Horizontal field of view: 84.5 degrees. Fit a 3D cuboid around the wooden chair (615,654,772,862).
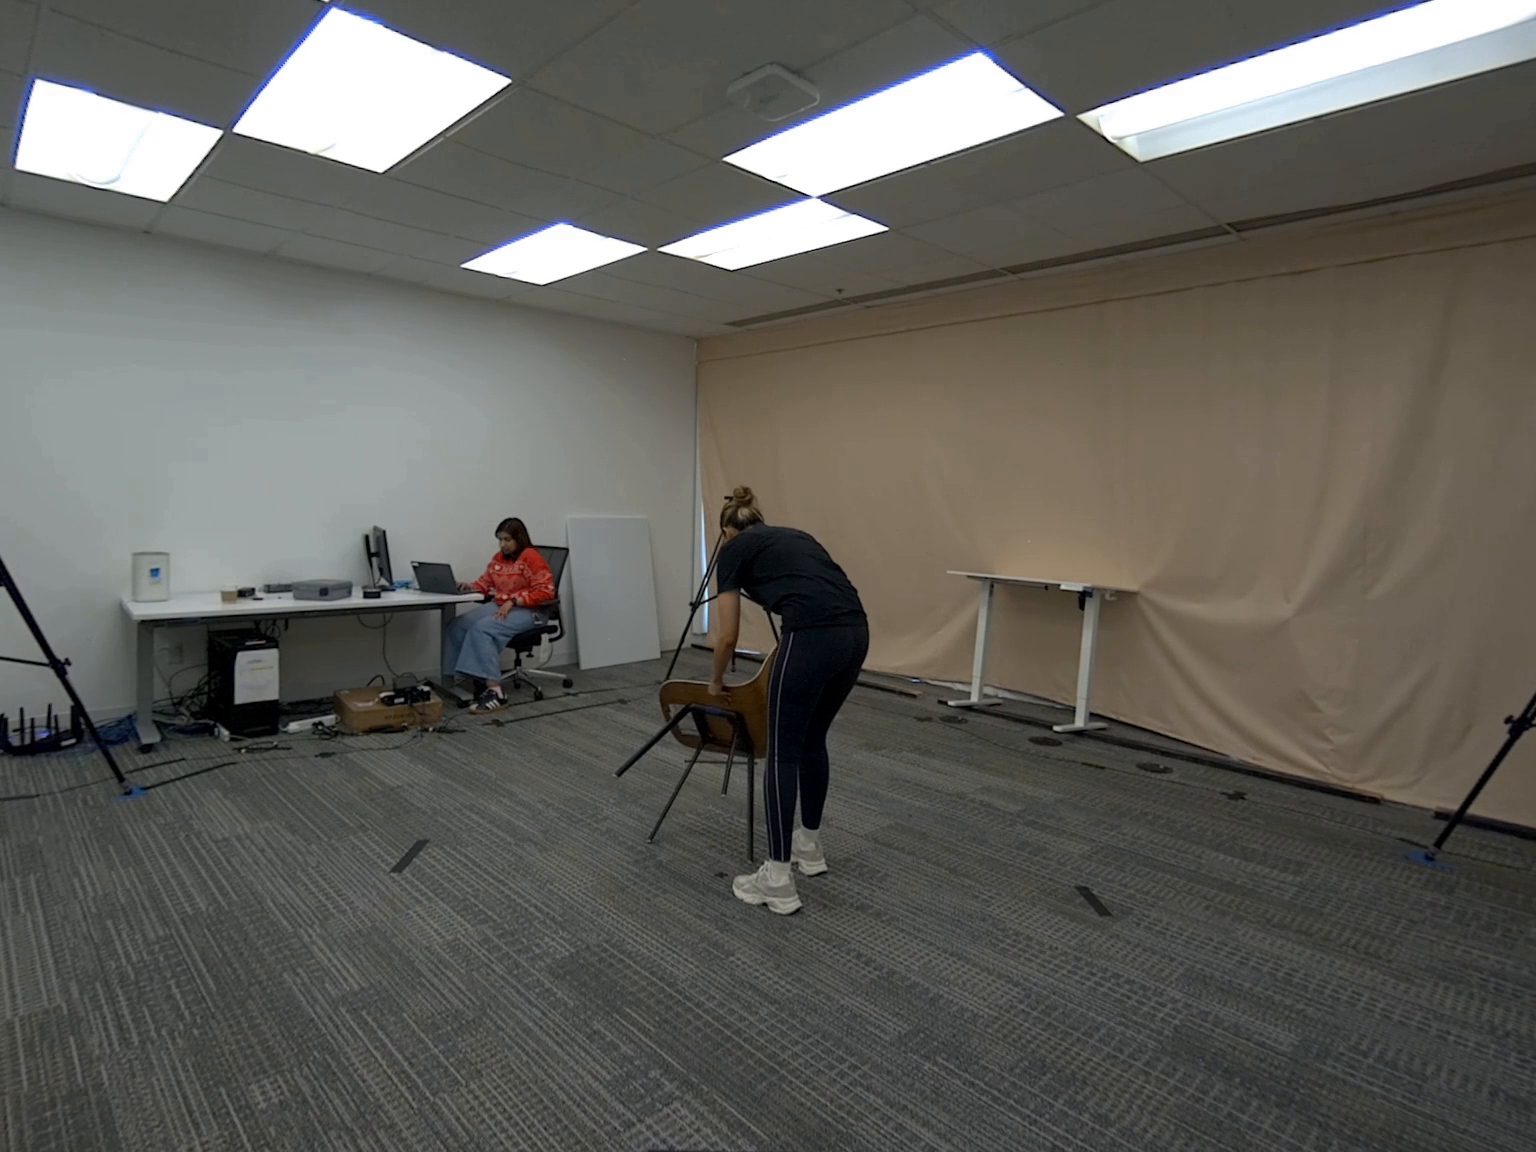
[{"bbox_3d":[-0.207,0.635,3.452,0.534,0.465,0.883,6,44,25],"label":"wooden chair"}]
